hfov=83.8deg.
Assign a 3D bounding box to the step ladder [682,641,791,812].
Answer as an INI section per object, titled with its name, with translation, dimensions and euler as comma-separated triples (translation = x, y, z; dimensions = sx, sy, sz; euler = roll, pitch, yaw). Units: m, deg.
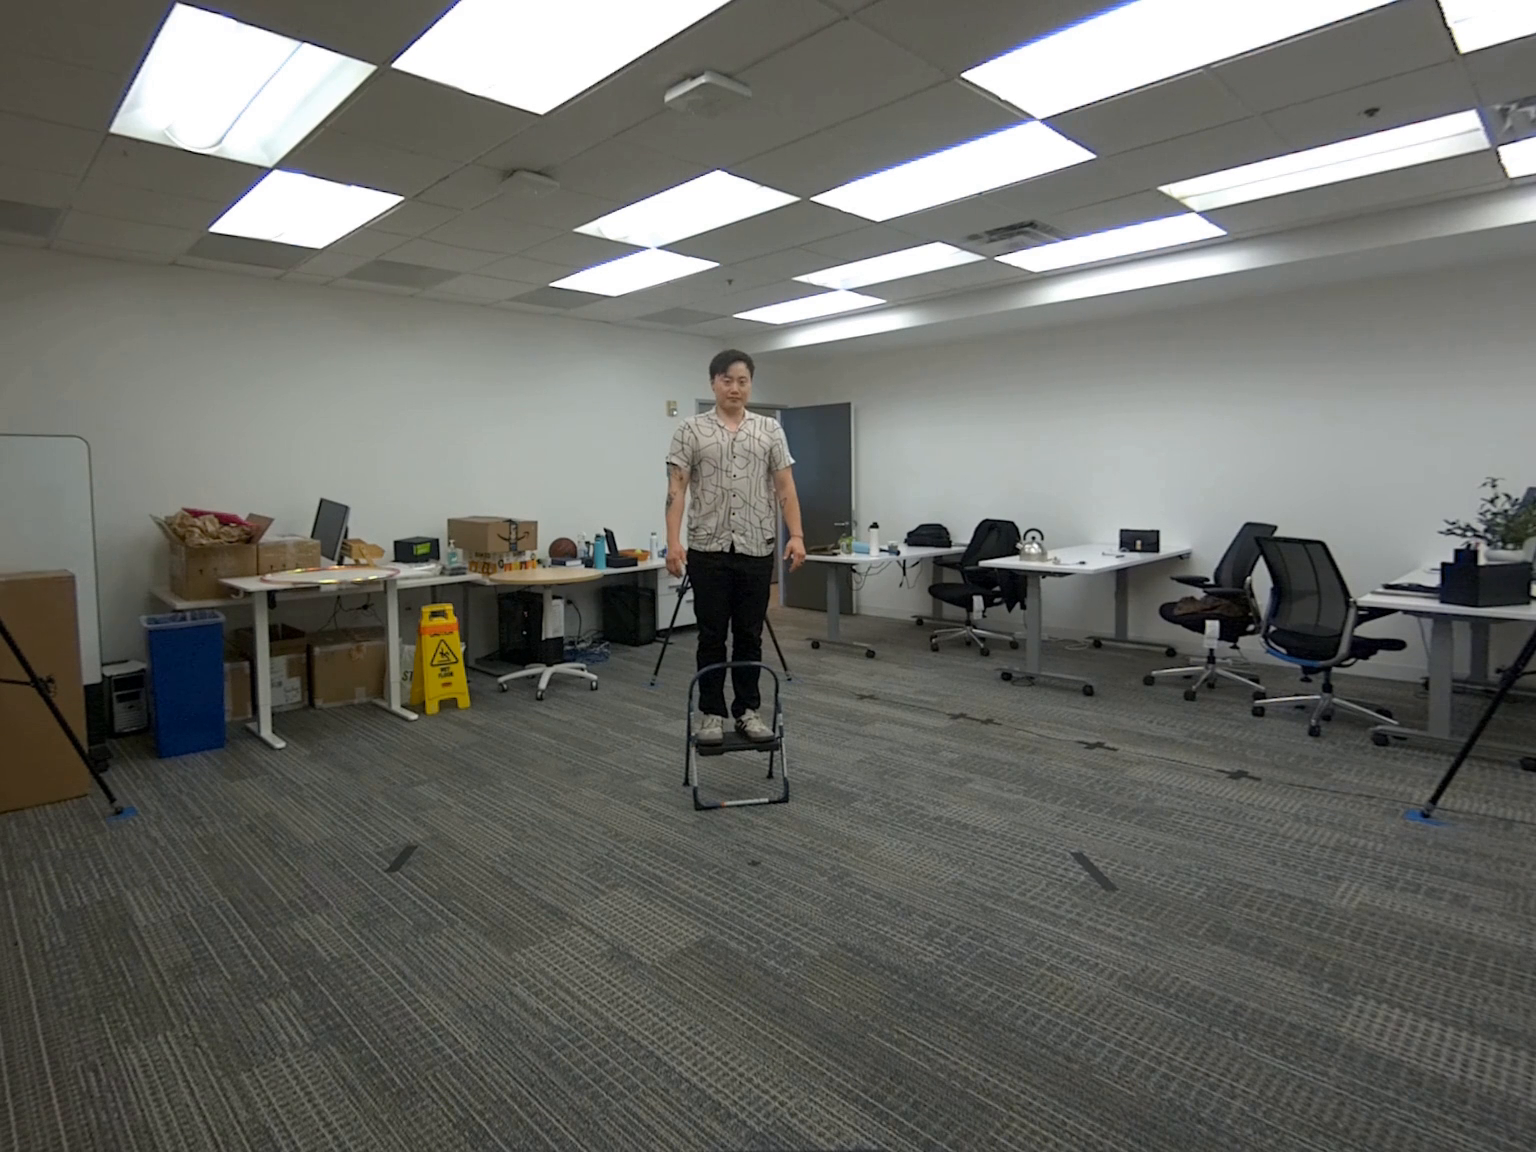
[step ladder]
translation = -0.151, 0.669, 3.792
dimensions = 0.426, 0.604, 0.354
euler = -2, 4, -12
